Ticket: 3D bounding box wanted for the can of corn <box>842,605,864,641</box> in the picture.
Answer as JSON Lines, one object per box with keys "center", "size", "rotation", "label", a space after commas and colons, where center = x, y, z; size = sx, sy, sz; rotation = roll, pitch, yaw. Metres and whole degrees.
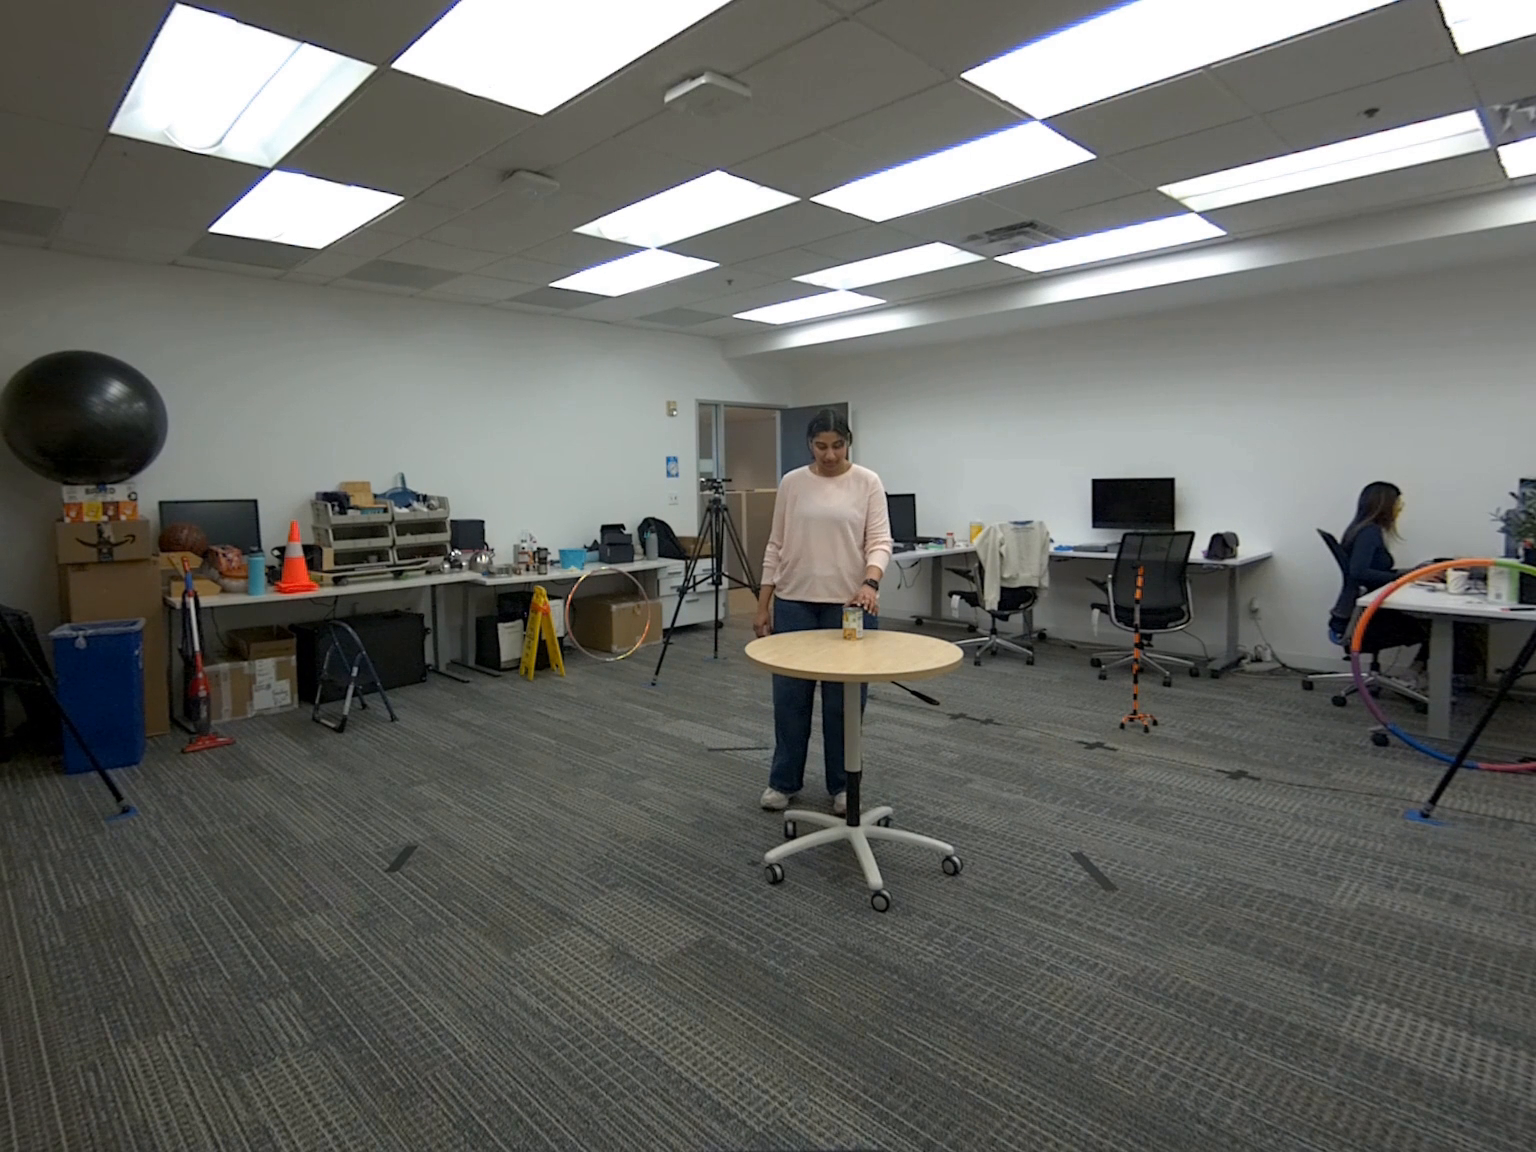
{"center": [0.322, 0.185, 3.243], "size": [0.074, 0.111, 0.074], "rotation": [2, 3, -2], "label": "can of corn"}
